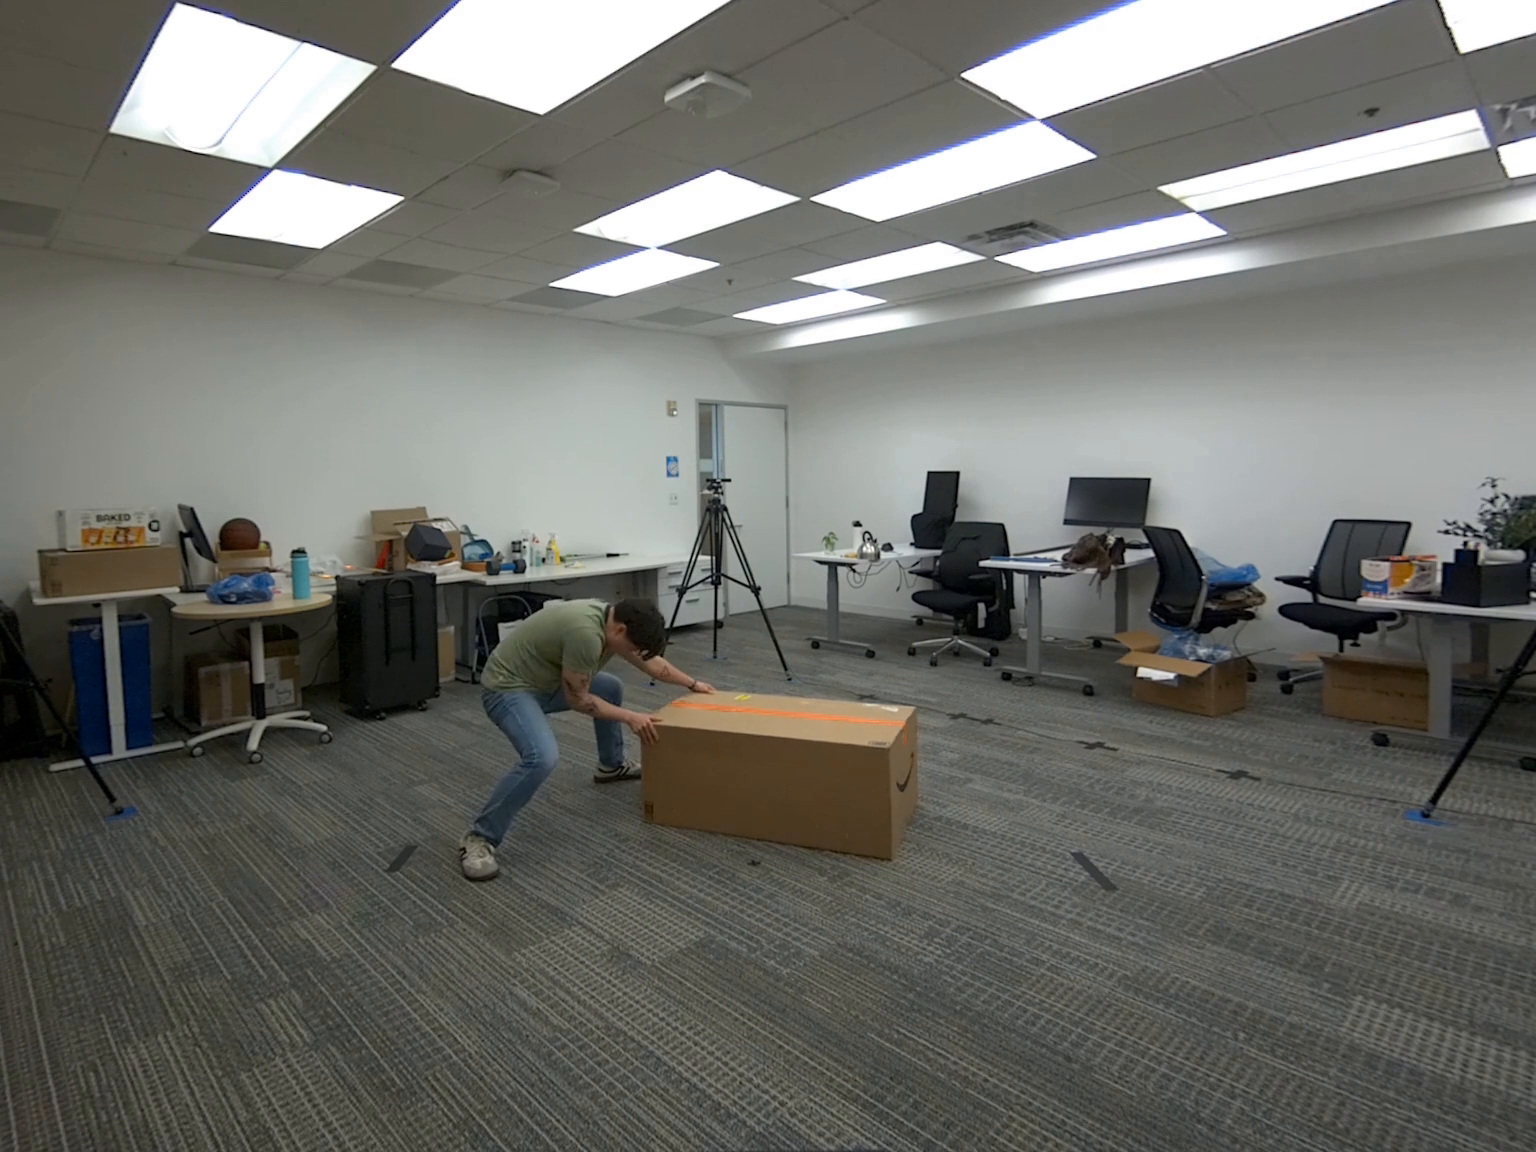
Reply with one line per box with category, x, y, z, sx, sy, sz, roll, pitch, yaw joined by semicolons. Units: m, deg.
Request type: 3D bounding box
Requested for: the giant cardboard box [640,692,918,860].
giant cardboard box;0.055;0.777;3.537;1.047;0.425;0.568;1;5;21
